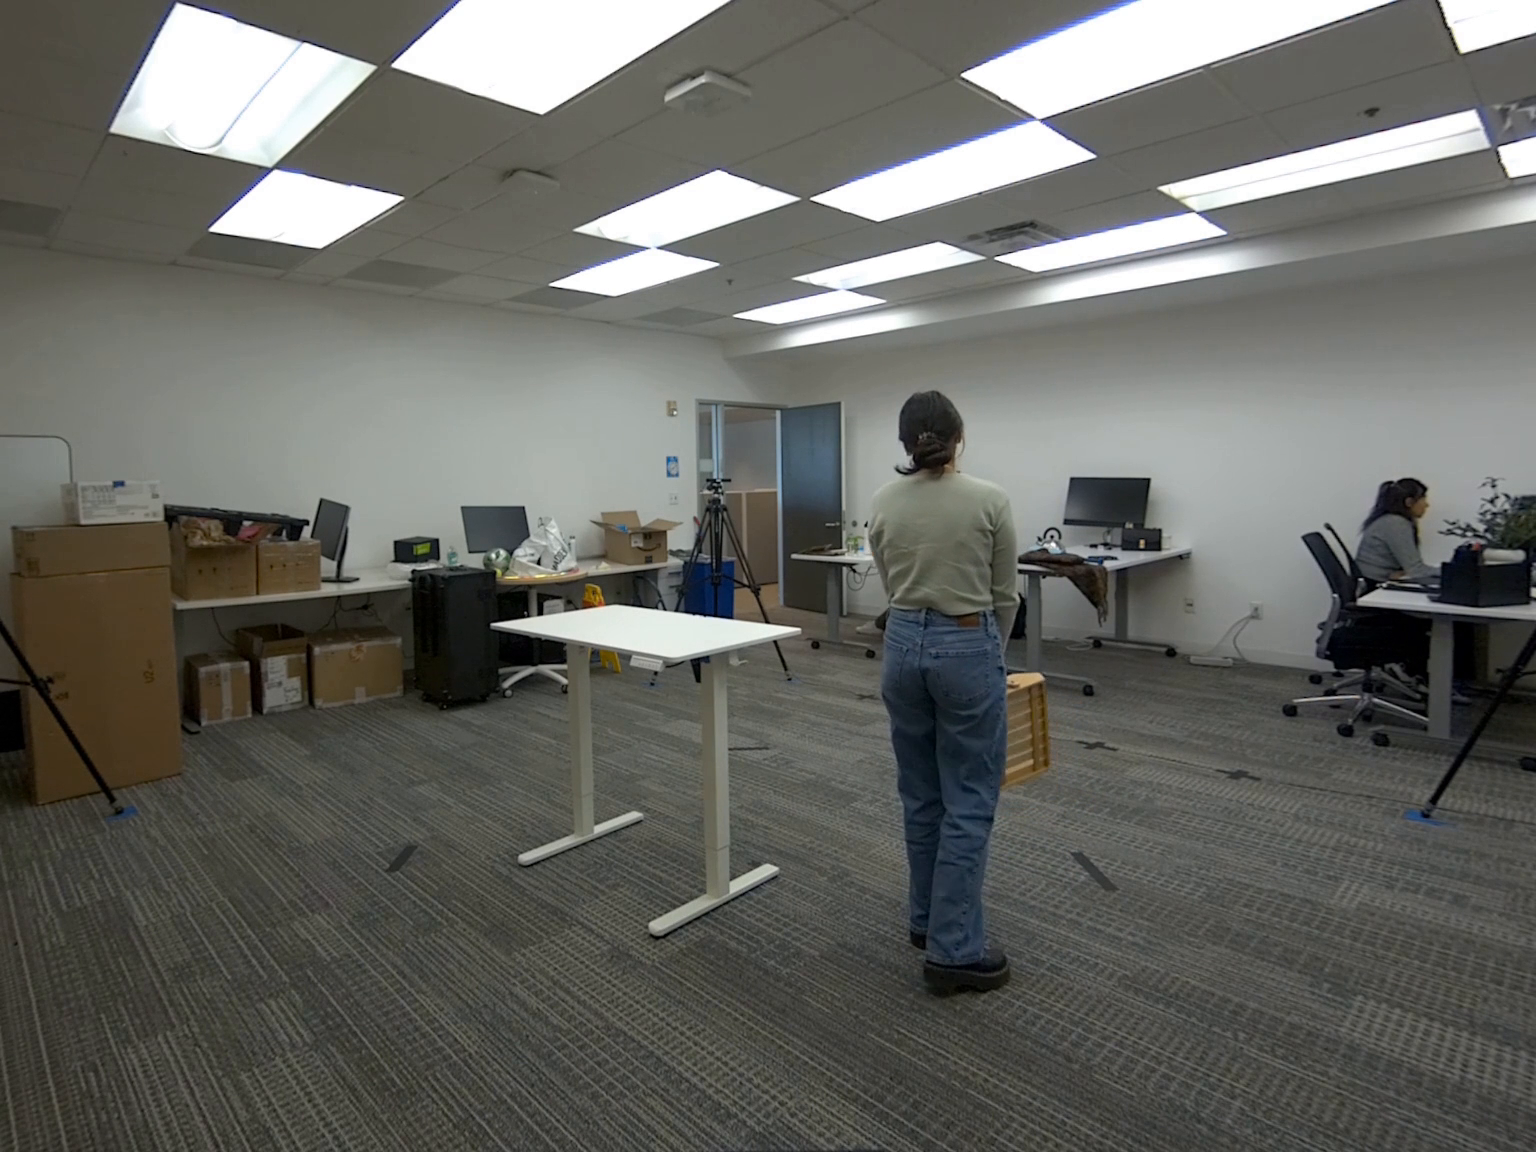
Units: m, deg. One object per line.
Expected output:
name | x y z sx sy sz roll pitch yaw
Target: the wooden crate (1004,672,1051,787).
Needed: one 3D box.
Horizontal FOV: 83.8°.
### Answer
wooden crate | 0.681 0.456 2.686 0.297 0.320 0.282 -14 15 -26
